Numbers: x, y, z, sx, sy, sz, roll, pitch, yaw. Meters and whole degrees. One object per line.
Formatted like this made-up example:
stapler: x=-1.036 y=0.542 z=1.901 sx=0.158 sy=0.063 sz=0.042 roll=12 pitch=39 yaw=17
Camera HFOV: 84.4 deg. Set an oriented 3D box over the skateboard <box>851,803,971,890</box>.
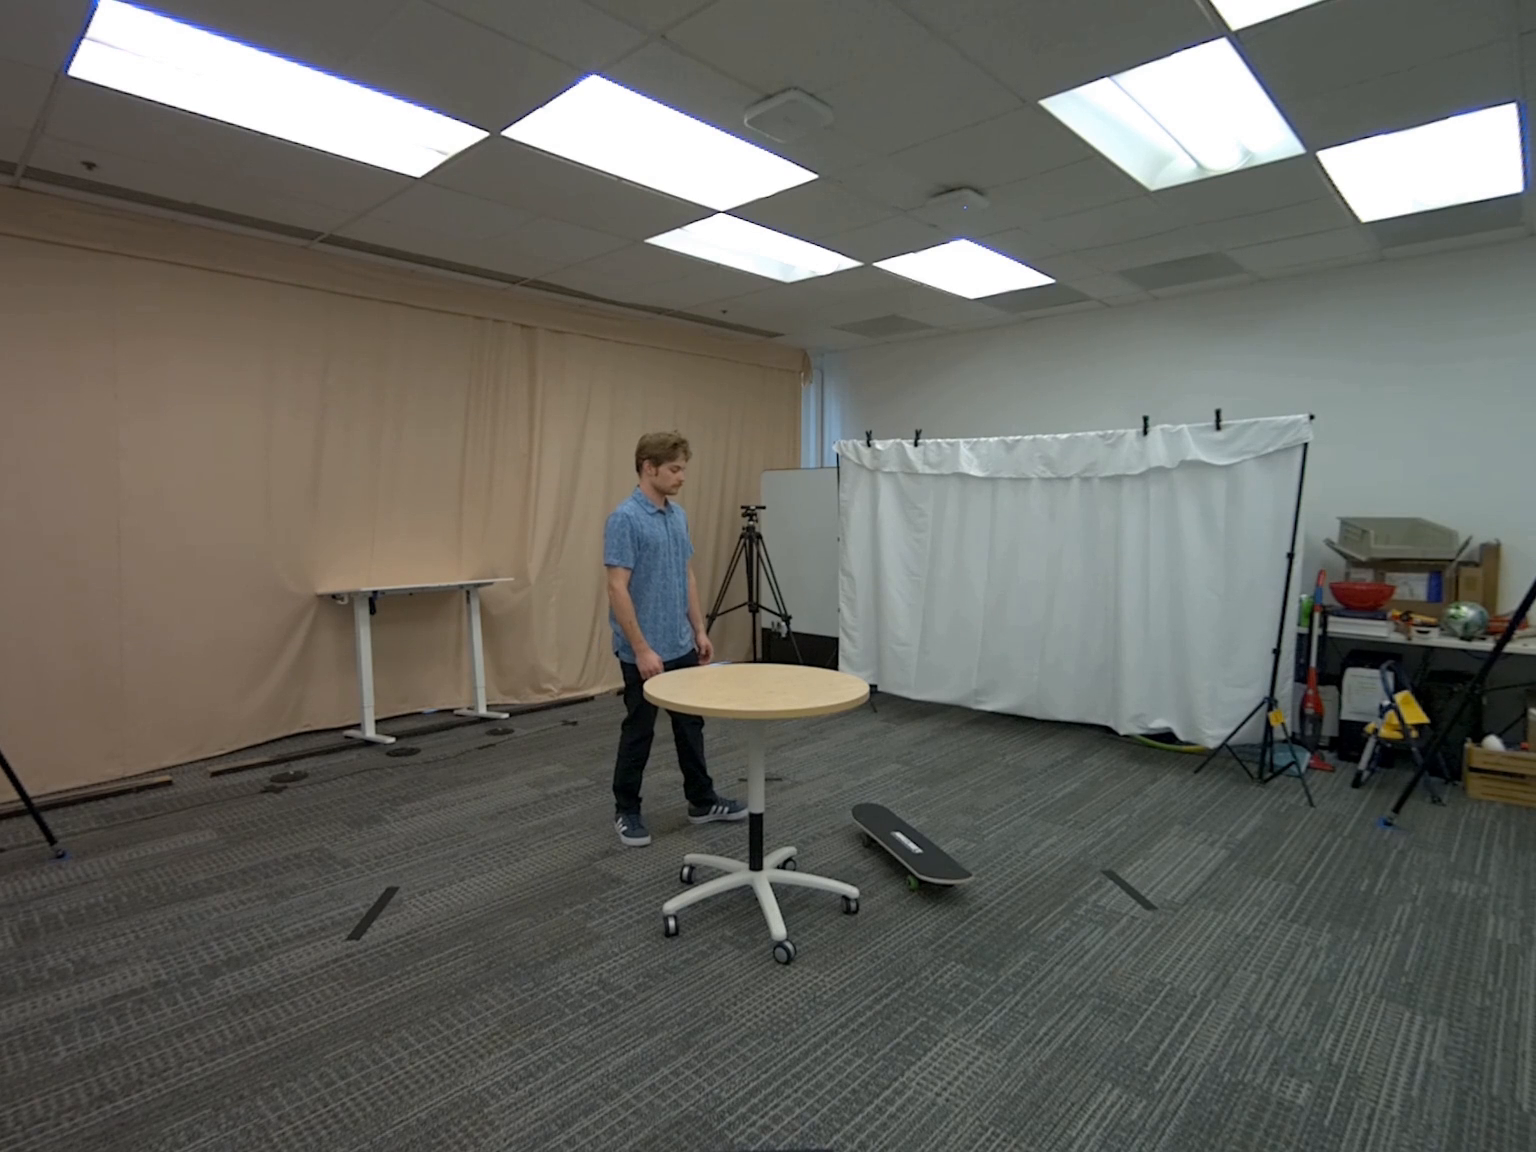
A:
skateboard: x=0.539 y=1.062 z=3.263 sx=0.190 sy=0.110 sz=0.800 roll=-1 pitch=5 yaw=-17
